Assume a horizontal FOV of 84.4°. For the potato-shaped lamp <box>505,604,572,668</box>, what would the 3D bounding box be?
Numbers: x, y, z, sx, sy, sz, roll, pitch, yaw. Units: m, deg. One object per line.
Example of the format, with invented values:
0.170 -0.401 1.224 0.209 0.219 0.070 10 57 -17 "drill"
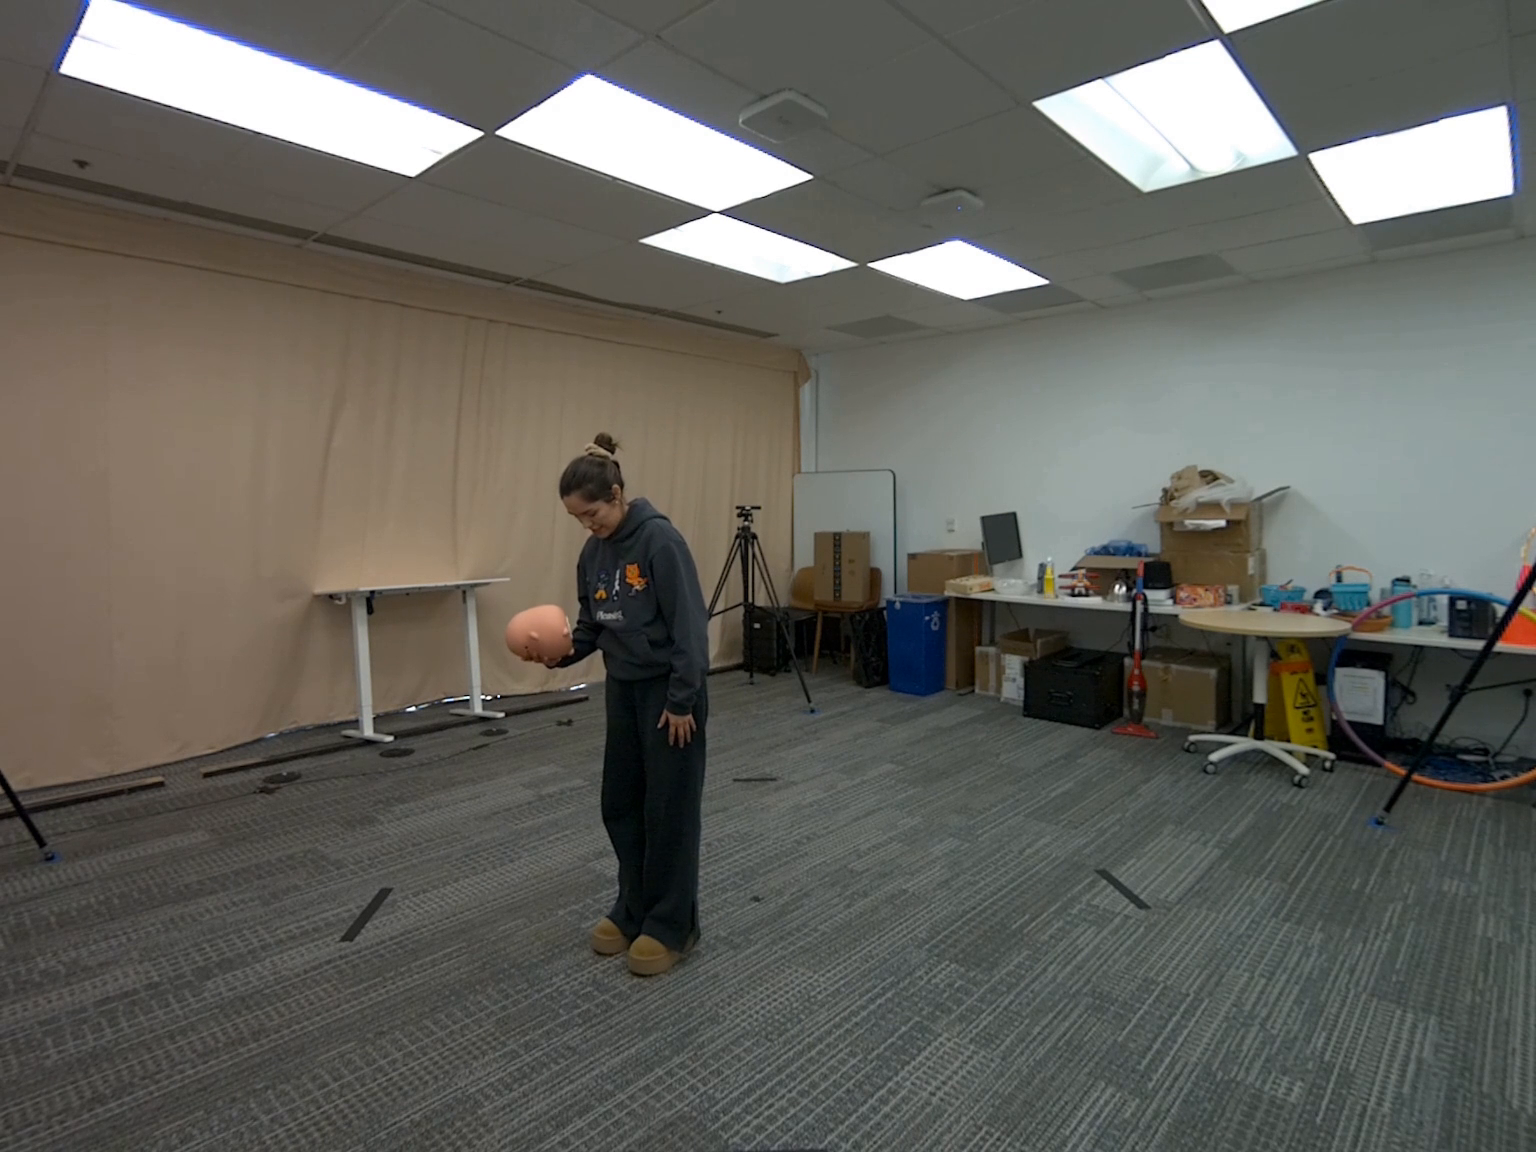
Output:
-0.694 0.192 2.606 0.196 0.176 0.162 -15 -35 -12 "potato-shaped lamp"
